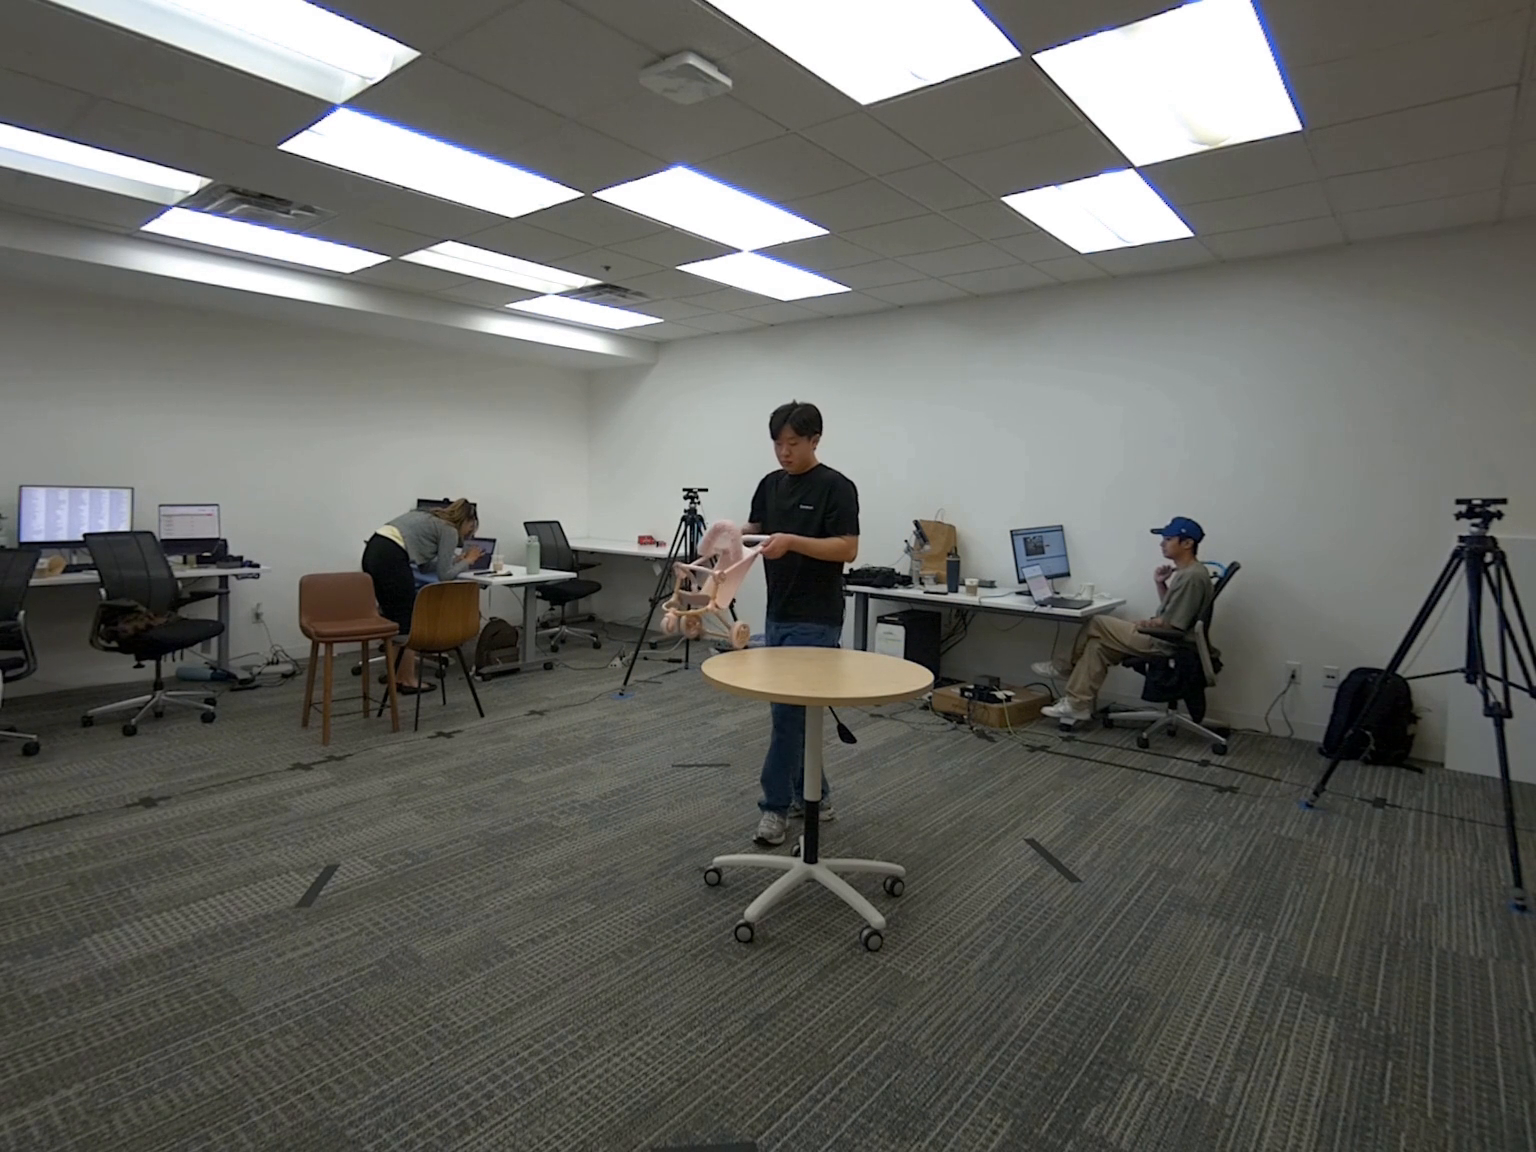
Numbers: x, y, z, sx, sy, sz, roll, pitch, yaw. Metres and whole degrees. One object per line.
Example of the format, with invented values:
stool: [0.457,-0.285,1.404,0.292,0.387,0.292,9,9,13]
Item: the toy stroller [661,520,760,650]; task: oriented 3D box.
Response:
toy stroller: [-0.215,0.018,3.199,0.291,0.539,0.327,5,-22,45]
